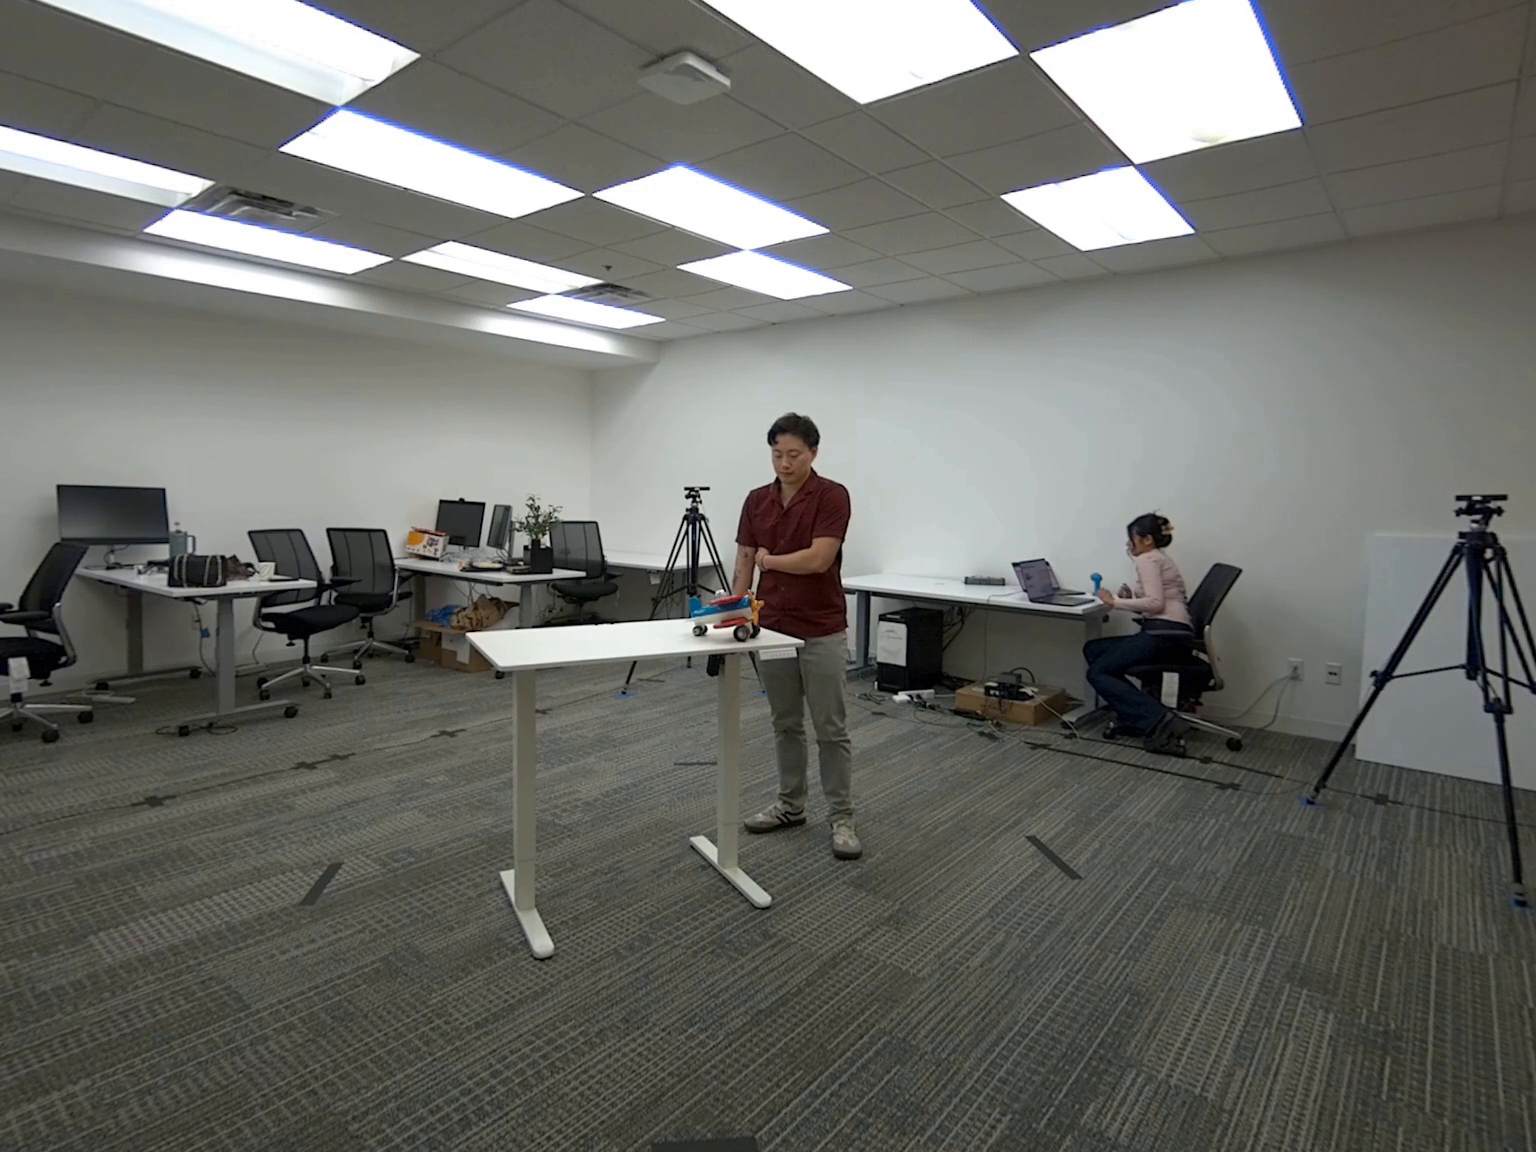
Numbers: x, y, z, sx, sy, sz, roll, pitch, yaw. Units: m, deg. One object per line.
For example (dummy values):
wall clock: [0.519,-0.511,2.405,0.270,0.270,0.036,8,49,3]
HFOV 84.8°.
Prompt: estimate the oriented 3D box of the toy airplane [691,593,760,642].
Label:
toy airplane: [-0.160,0.133,2.860,0.258,0.156,0.253,1,4,-4]
